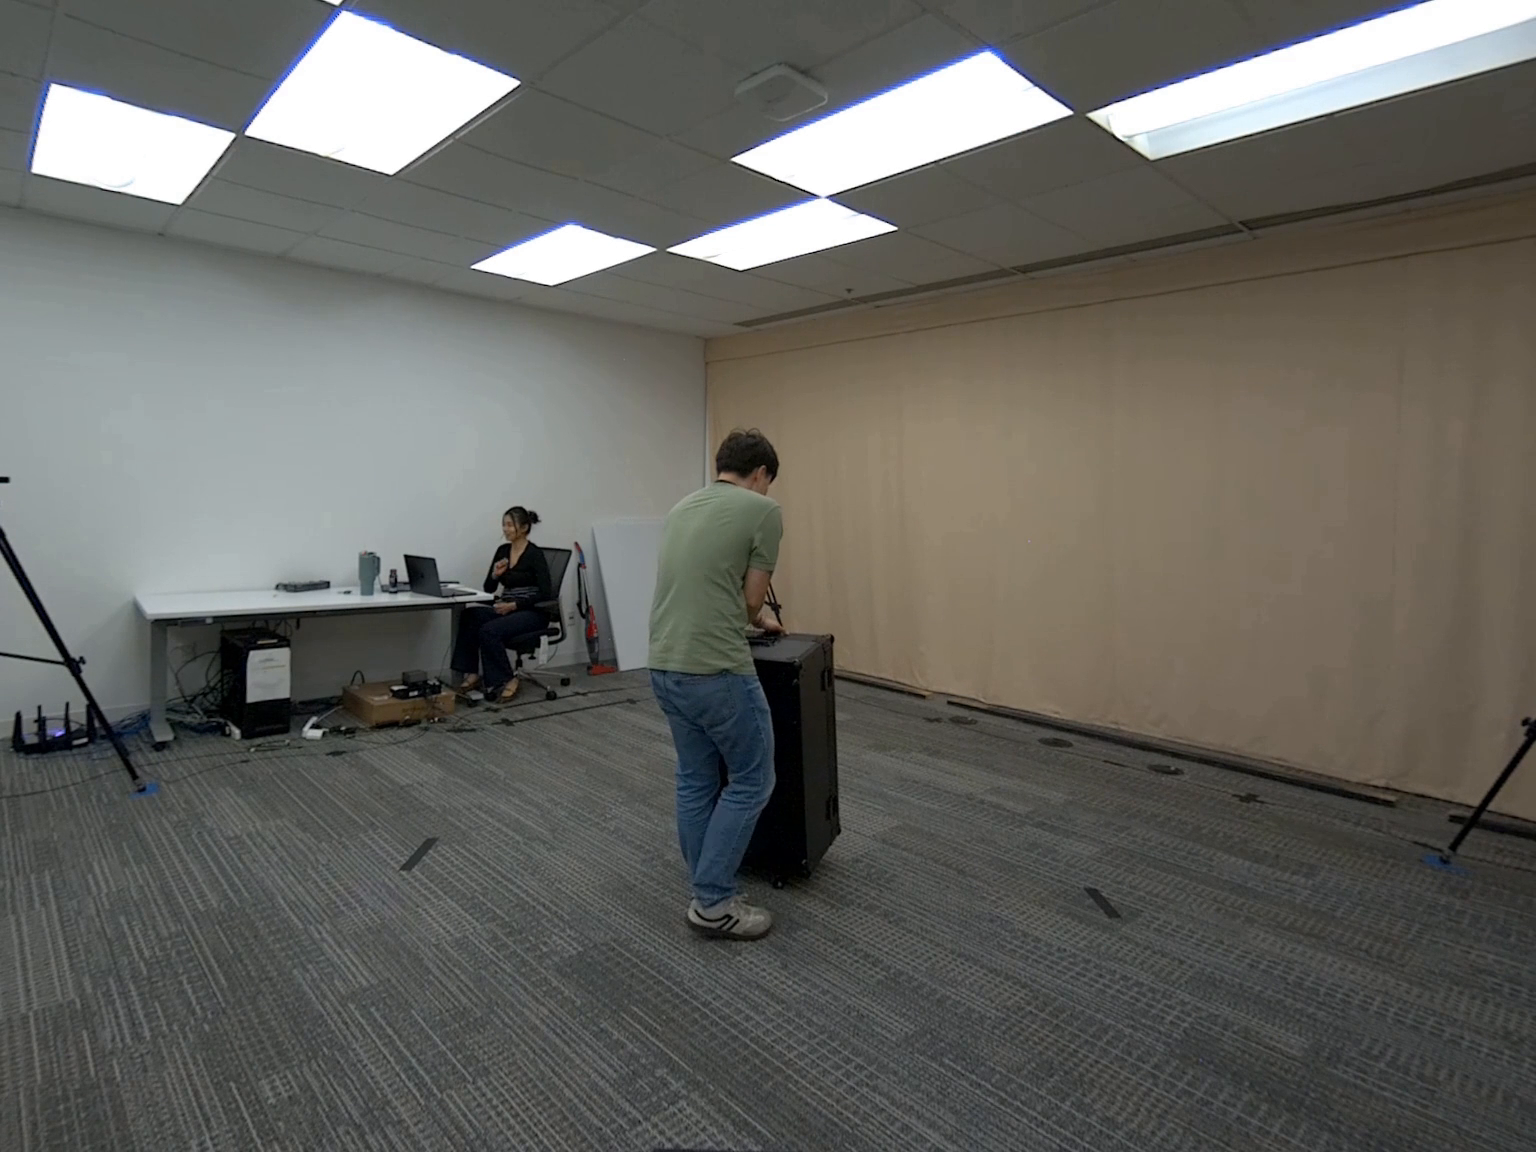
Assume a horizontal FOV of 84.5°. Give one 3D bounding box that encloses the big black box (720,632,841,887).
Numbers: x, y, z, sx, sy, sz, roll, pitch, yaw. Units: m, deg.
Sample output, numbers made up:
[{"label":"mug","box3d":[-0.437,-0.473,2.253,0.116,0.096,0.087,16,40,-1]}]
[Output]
[{"label":"big black box","box3d":[-0.031,0.666,3.120,0.531,0.855,0.392,1,11,25]}]
